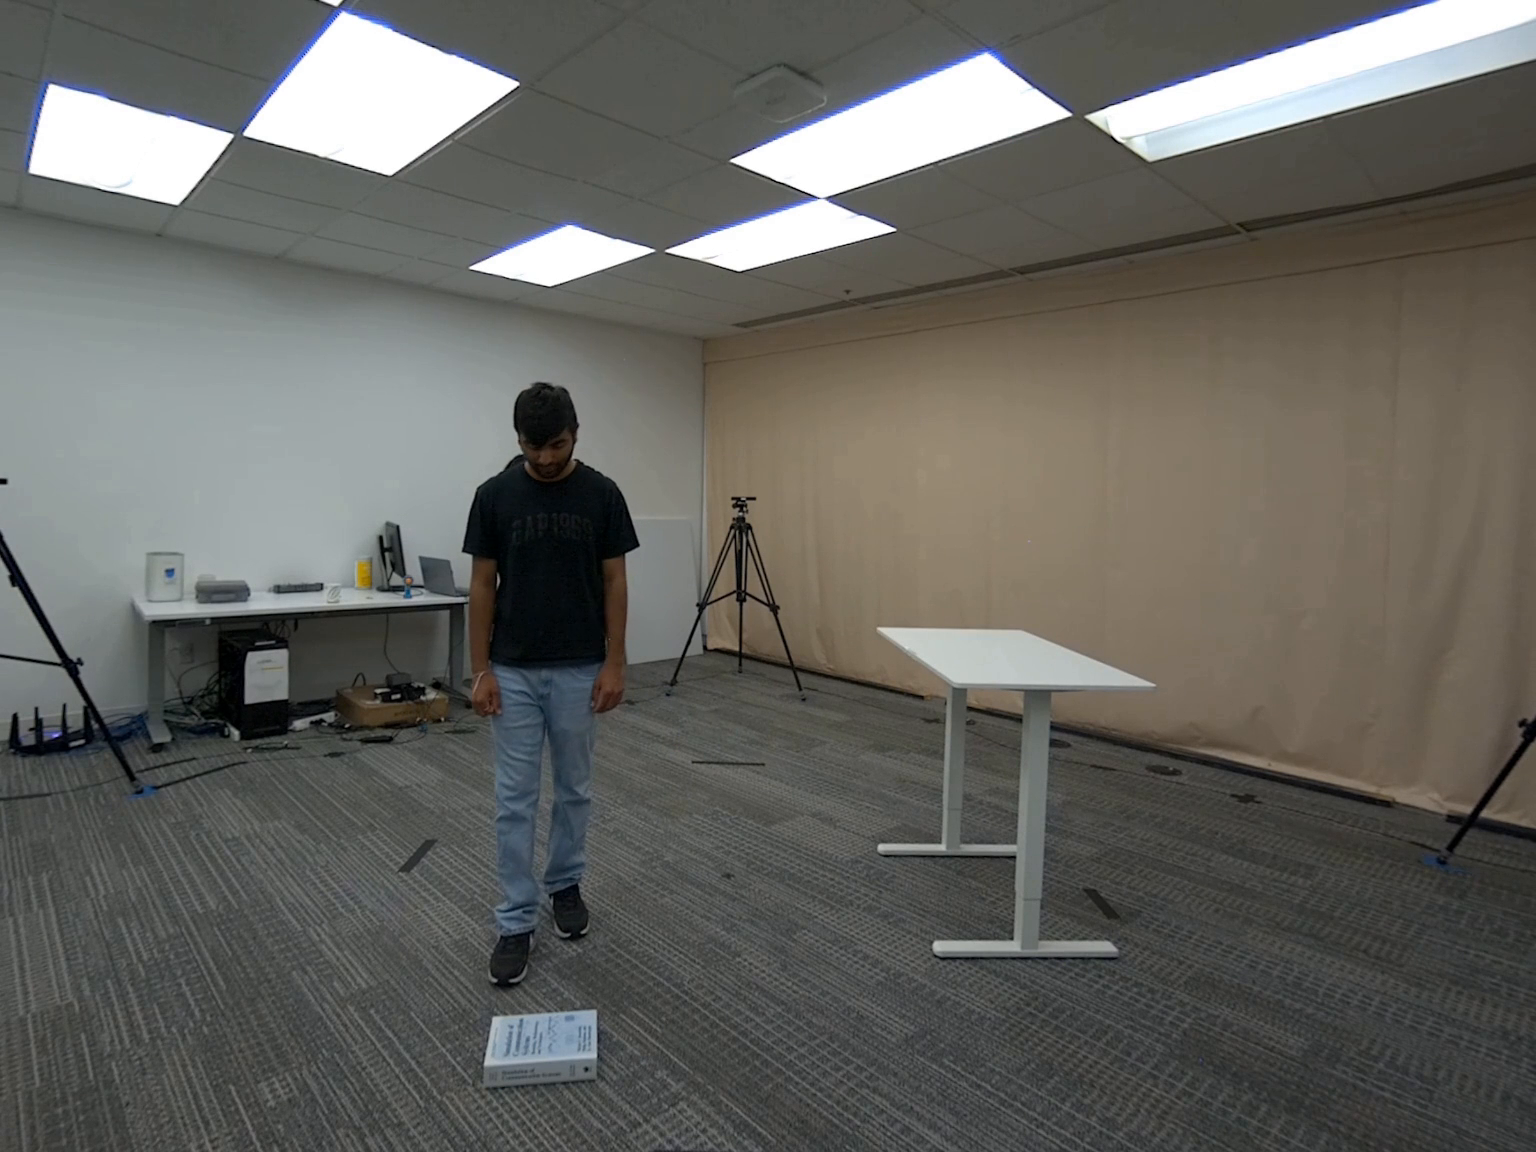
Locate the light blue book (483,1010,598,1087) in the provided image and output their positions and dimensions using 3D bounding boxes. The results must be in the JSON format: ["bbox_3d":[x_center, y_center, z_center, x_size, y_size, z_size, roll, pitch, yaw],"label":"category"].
[{"bbox_3d":[-0.568,1.169,2.061,0.259,0.059,0.193,1,5,-10],"label":"light blue book"}]
